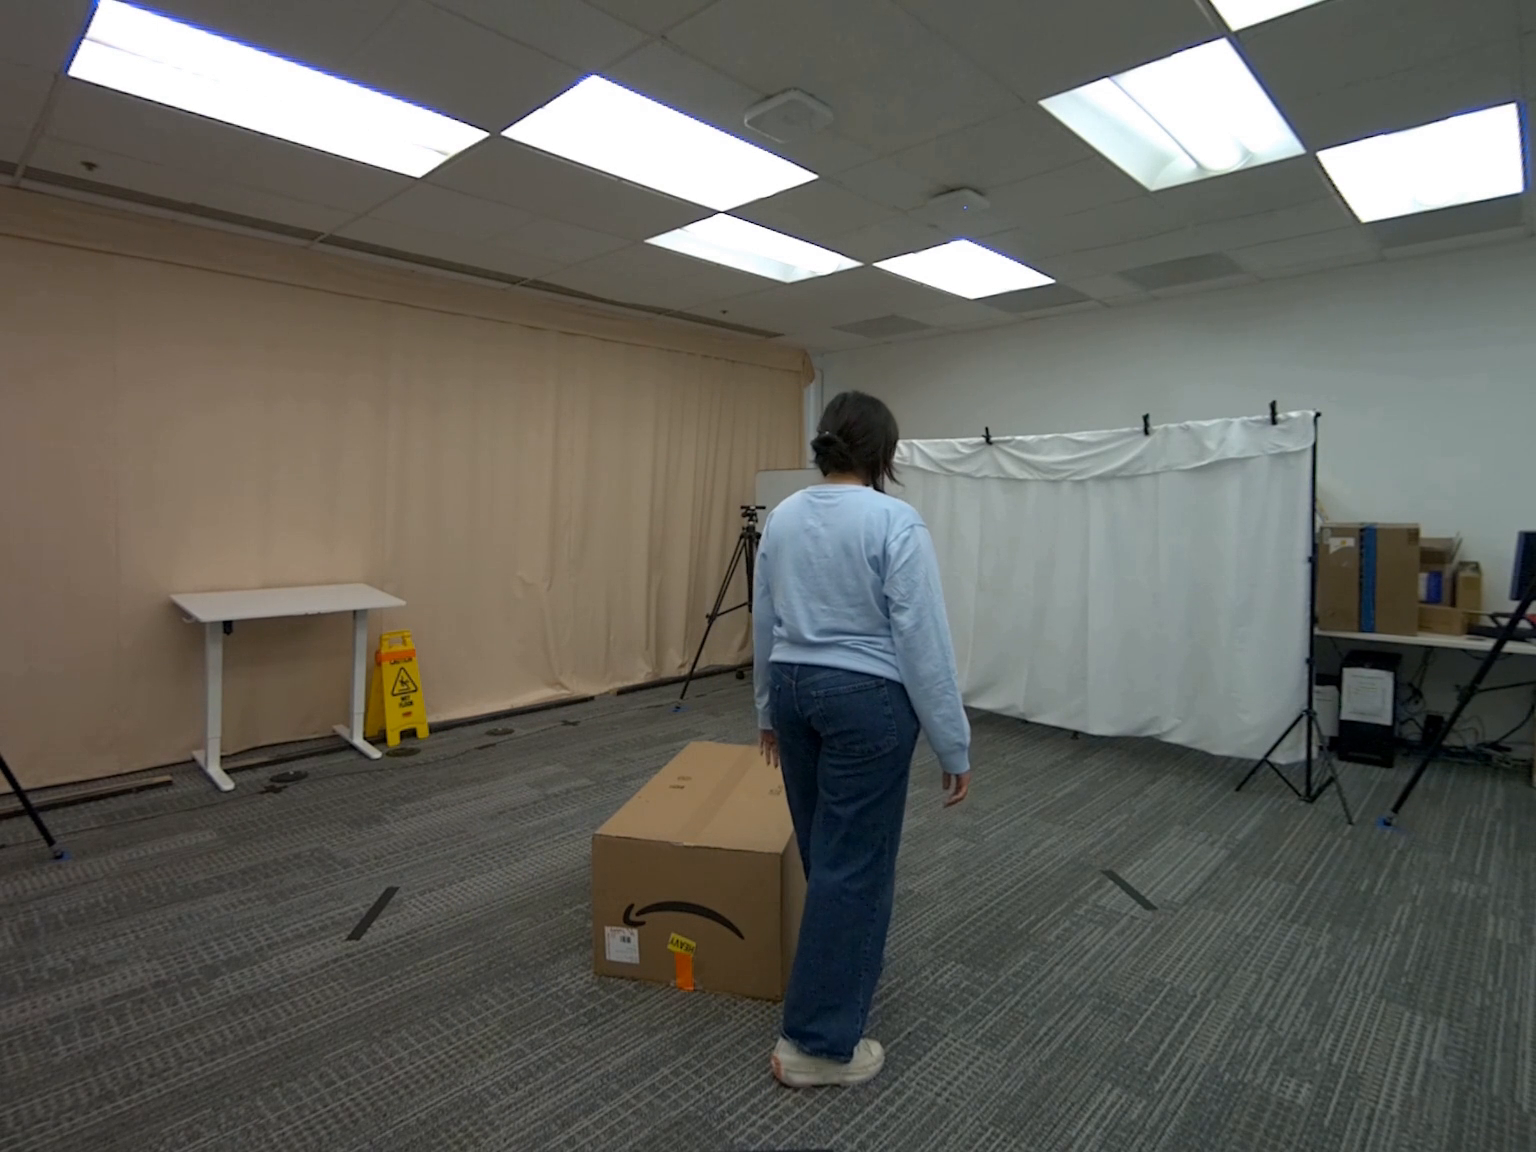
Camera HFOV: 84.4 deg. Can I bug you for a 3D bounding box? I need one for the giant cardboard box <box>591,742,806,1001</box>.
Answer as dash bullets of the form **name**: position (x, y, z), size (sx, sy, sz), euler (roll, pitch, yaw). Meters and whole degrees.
- **giant cardboard box**: position (-0.136, 0.933, 2.911), size (0.586, 0.425, 1.013), euler (1, 5, 13)
